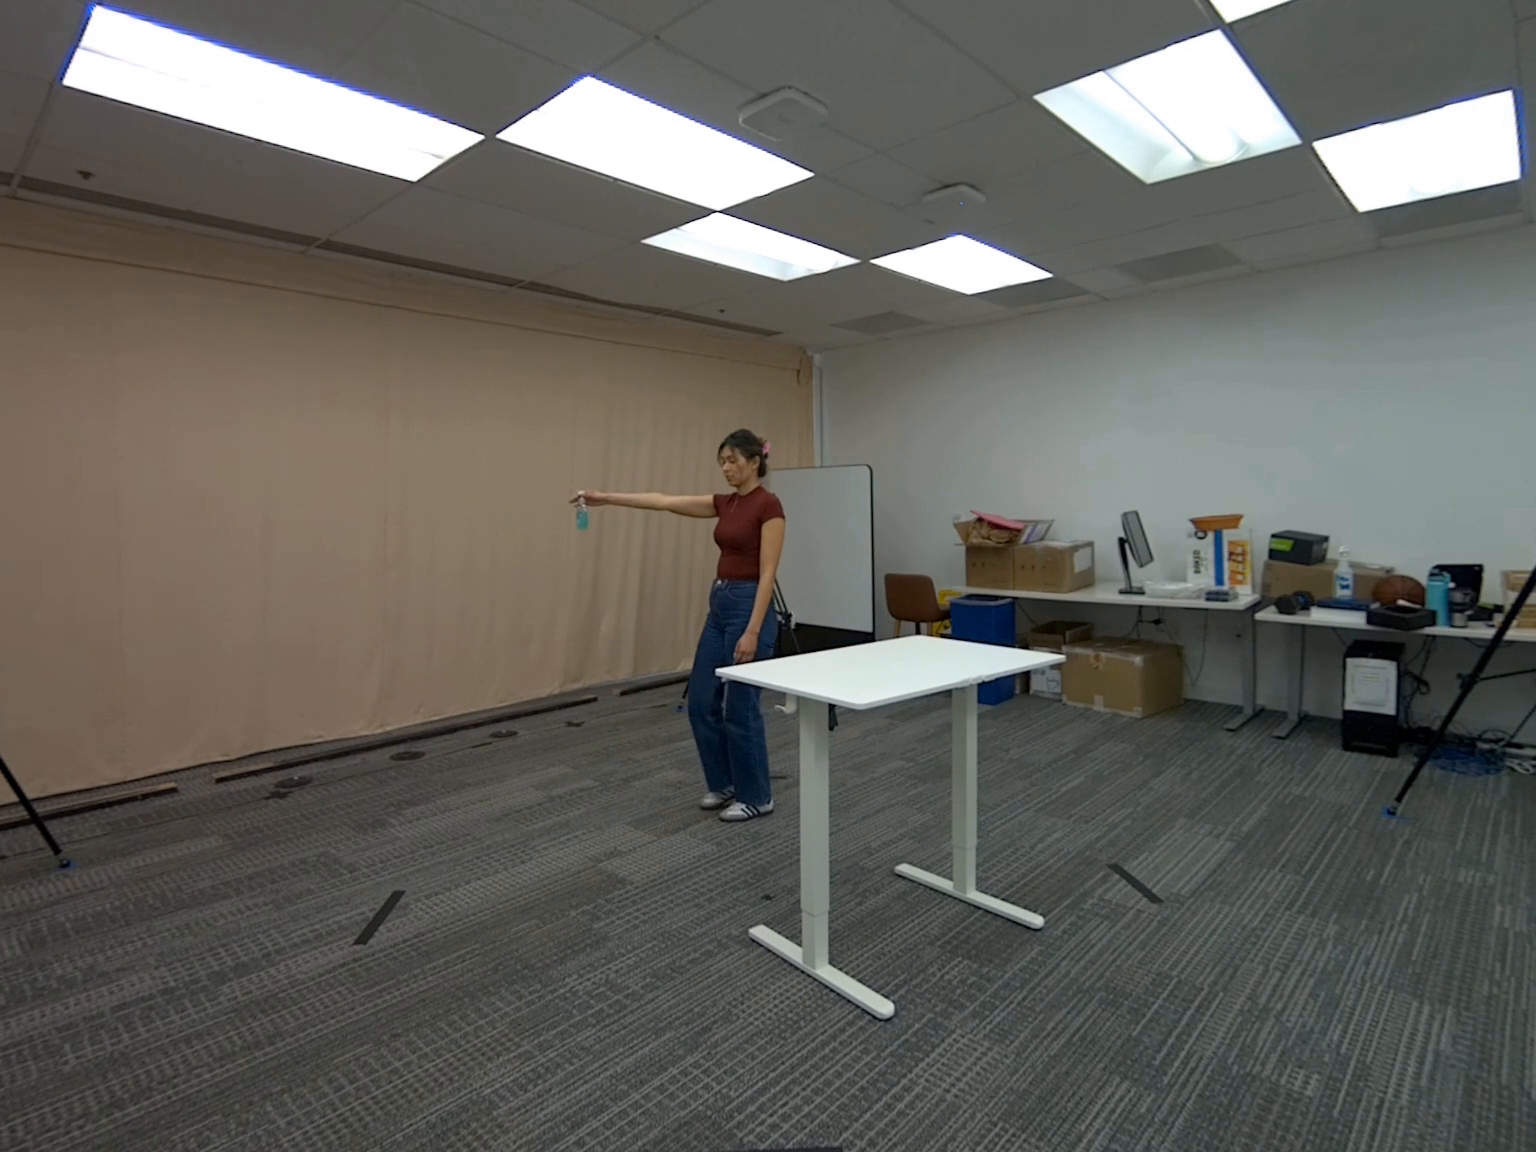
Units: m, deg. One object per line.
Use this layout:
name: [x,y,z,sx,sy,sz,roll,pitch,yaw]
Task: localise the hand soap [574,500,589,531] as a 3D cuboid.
hand soap: [-0.803,-0.282,3.632,0.042,0.167,0.087,-4,10,-31]
